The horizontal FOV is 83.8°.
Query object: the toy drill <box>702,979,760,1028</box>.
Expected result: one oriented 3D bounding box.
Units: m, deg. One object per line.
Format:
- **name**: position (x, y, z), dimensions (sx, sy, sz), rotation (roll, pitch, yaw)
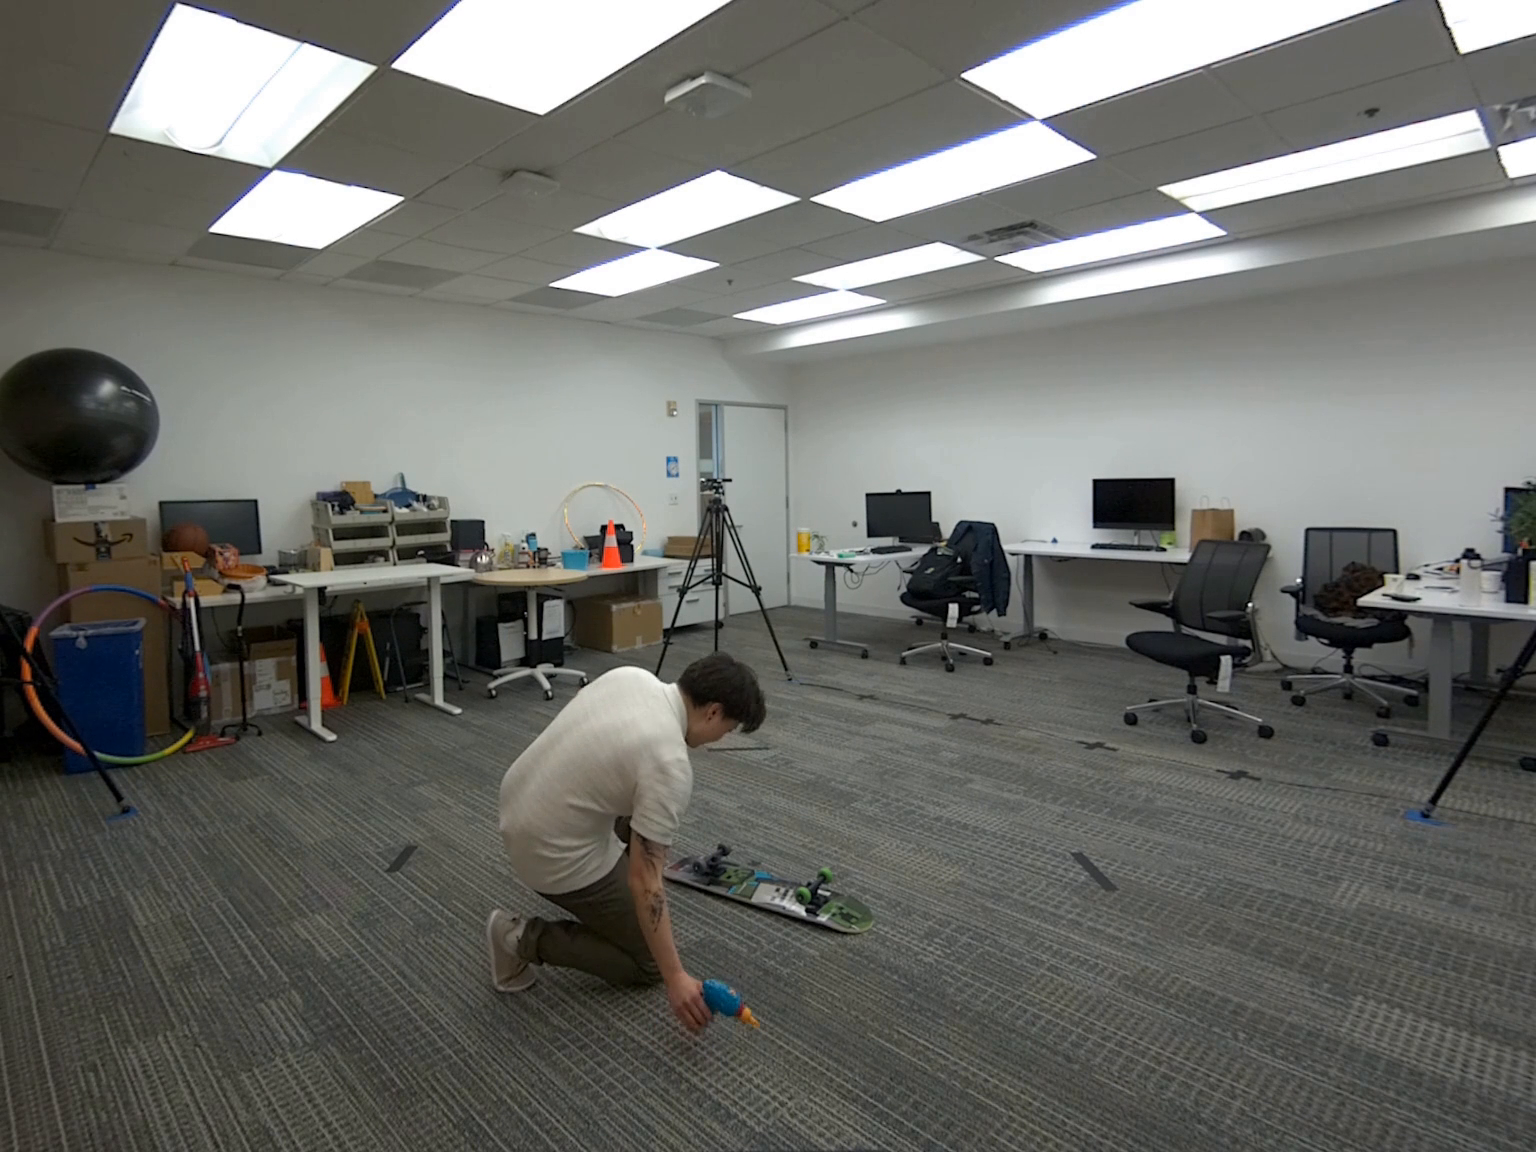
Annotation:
- **toy drill**: position (-0.107, 1.061, 2.115), dimensions (0.169, 0.145, 0.061), rotation (36, 20, -3)
